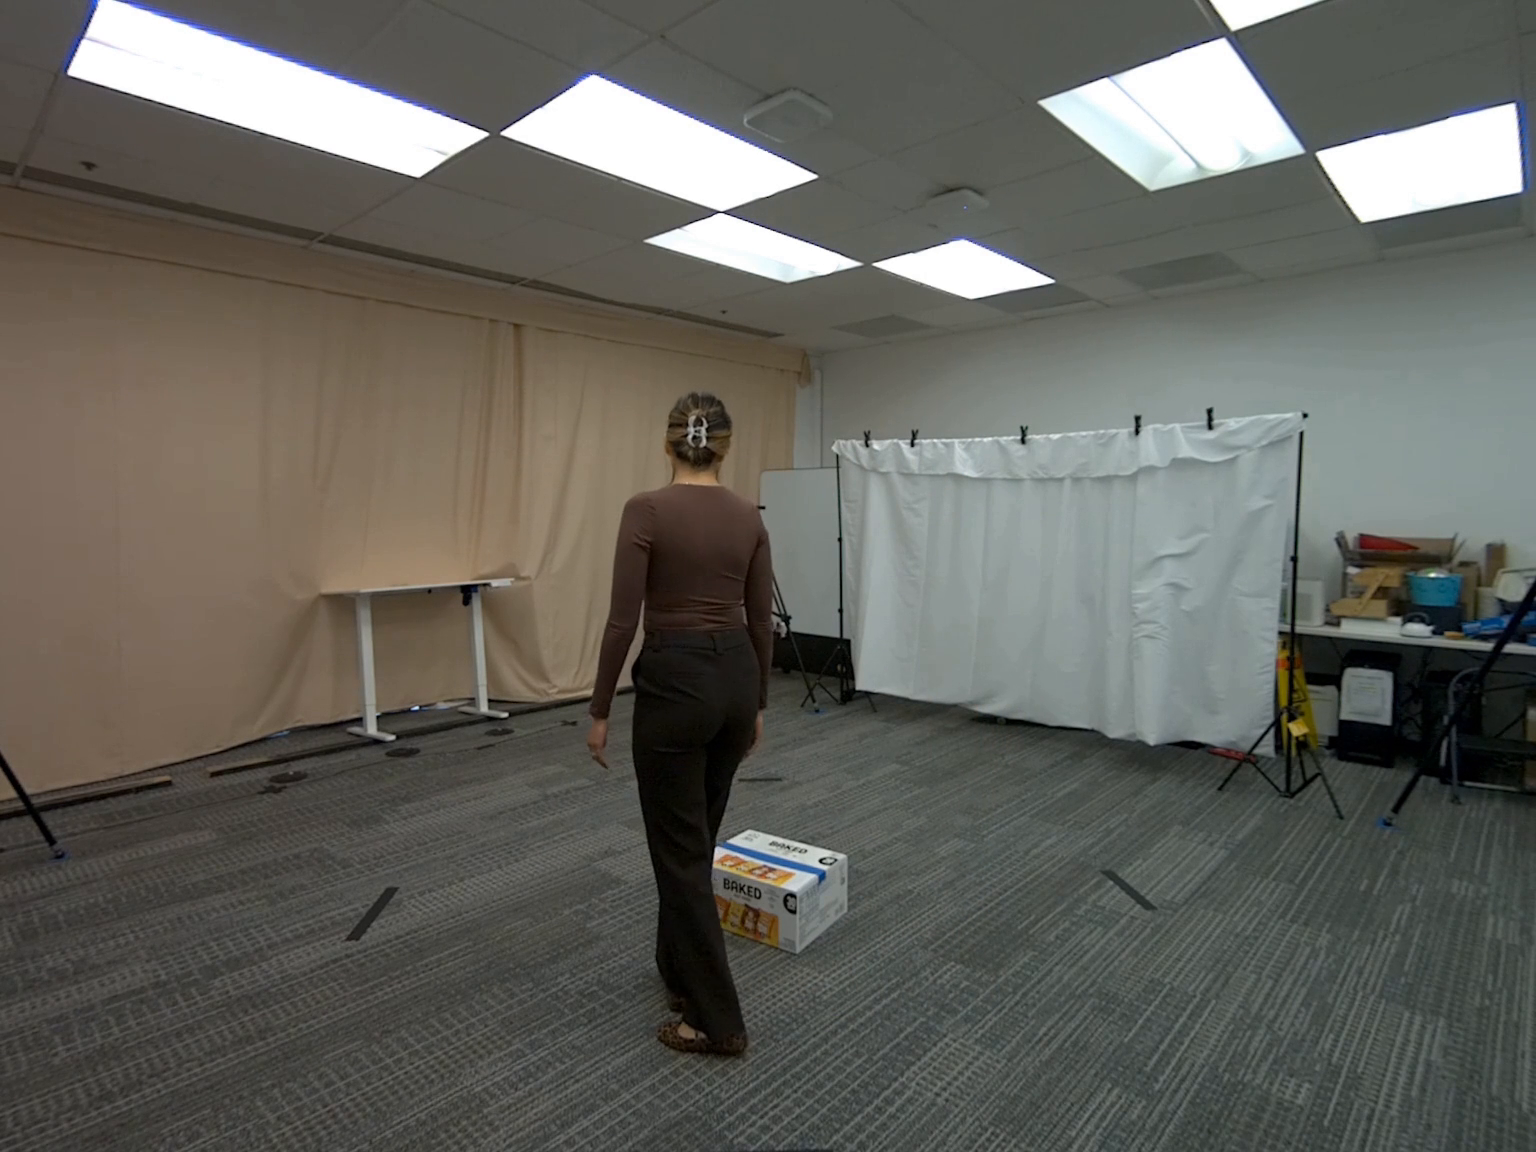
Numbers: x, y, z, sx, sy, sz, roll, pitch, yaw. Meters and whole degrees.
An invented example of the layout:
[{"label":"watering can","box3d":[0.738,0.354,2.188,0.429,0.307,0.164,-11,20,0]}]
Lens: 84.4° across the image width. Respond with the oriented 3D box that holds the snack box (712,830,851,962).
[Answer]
[{"label":"snack box","box3d":[0.014,1.054,2.844,0.418,0.205,0.331,3,5,34]}]
